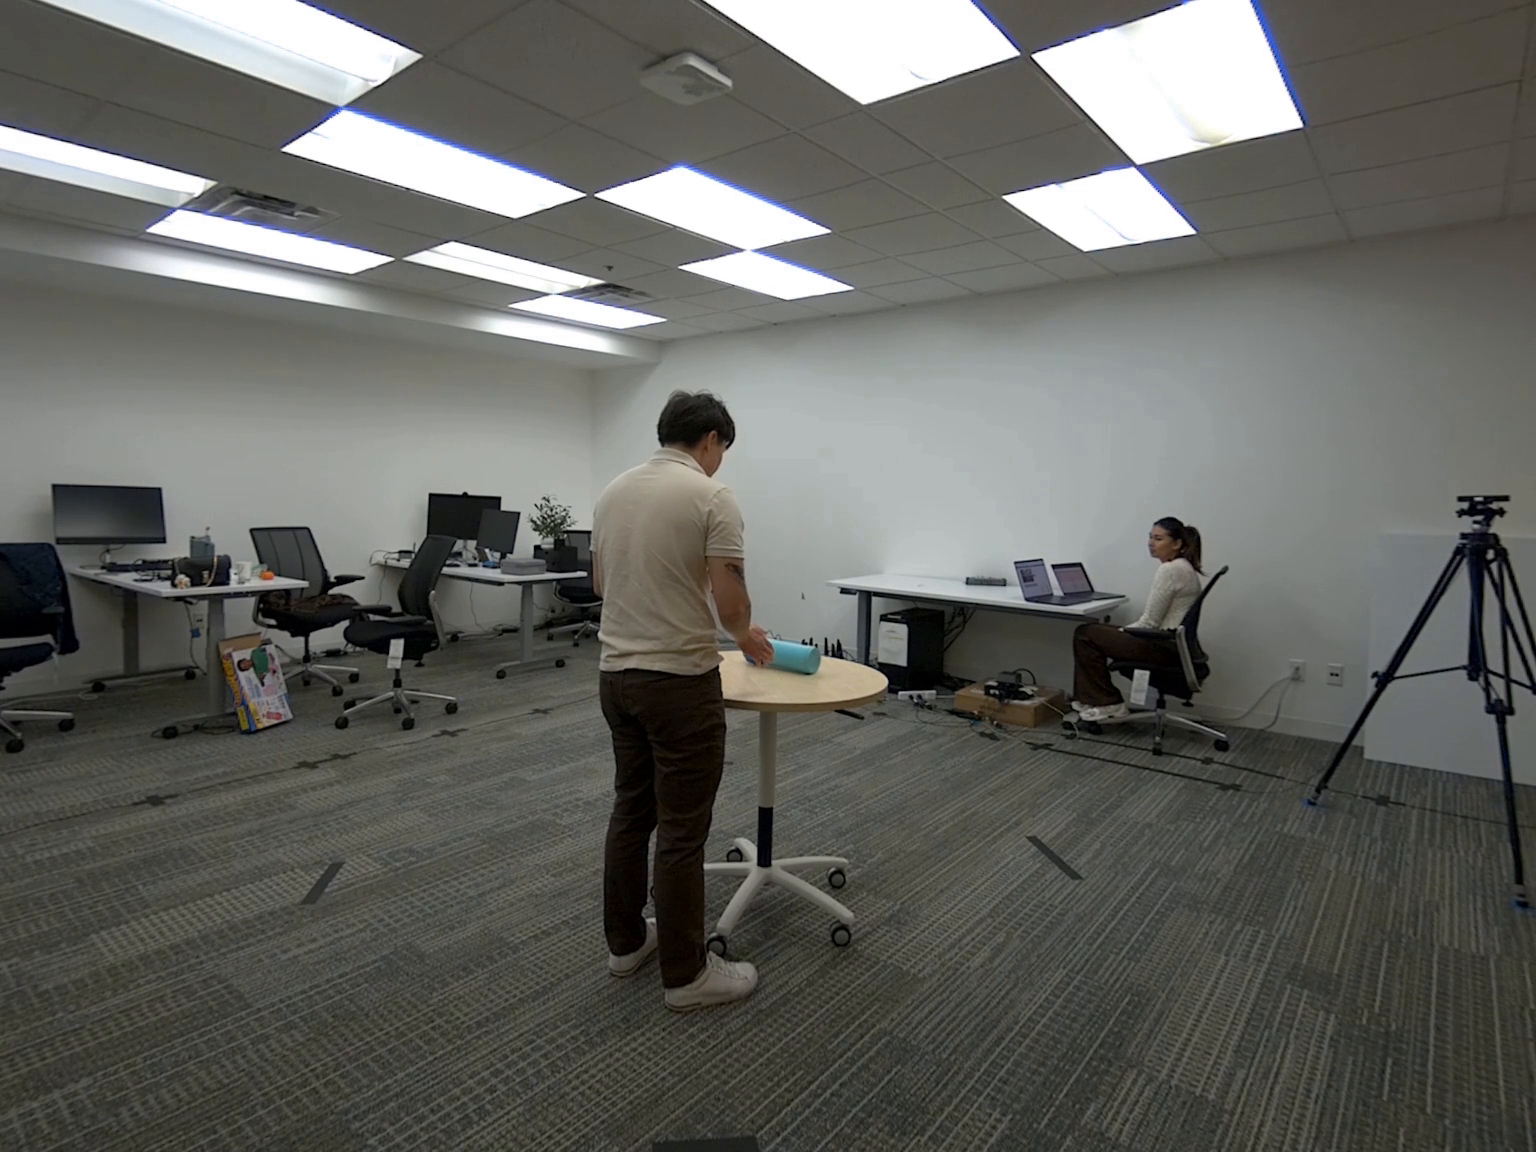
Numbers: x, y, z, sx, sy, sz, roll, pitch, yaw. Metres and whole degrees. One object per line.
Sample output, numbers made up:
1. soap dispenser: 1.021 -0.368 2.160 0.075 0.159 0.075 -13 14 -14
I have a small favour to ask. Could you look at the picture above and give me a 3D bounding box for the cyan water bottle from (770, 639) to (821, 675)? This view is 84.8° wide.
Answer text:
1. cyan water bottle: 0.030 0.261 2.883 0.293 0.092 0.090 7 7 35
